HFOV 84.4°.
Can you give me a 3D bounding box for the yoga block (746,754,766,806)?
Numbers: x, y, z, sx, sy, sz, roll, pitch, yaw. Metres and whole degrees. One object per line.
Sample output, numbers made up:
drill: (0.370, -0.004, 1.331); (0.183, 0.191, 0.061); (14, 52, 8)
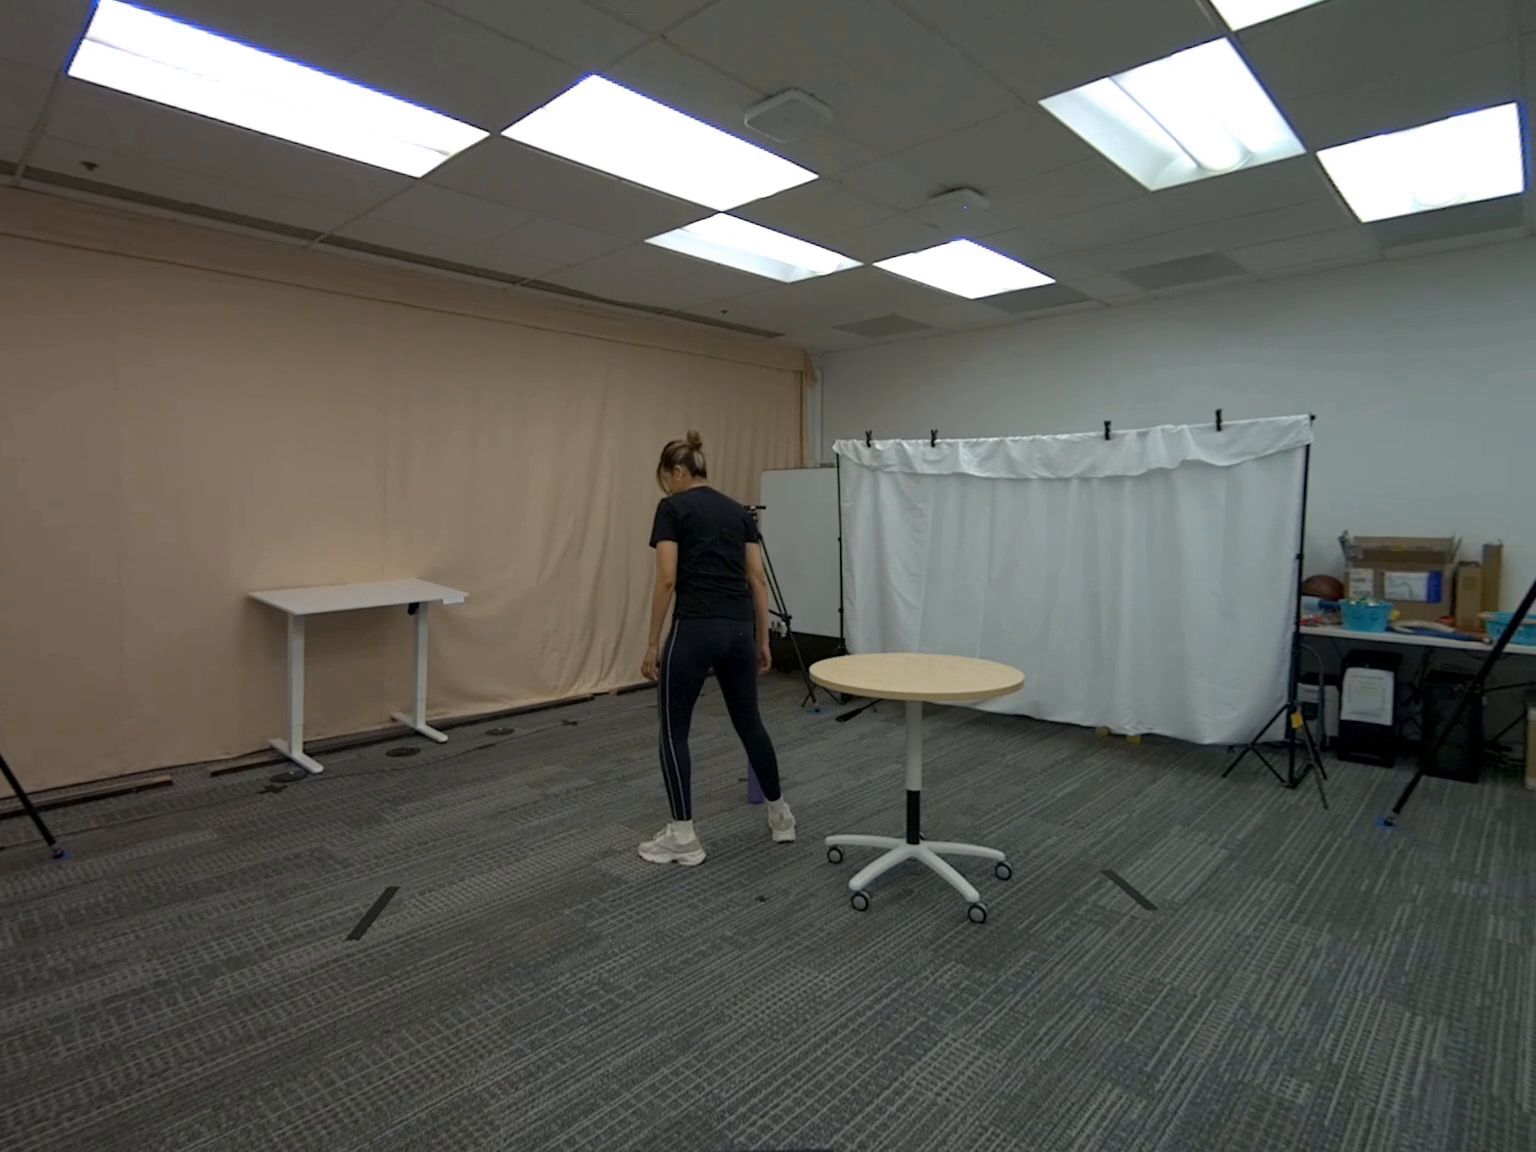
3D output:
yoga block: (-0.057, 0.945, 4.009); (0.077, 0.229, 0.148); (-2, 2, 2)
